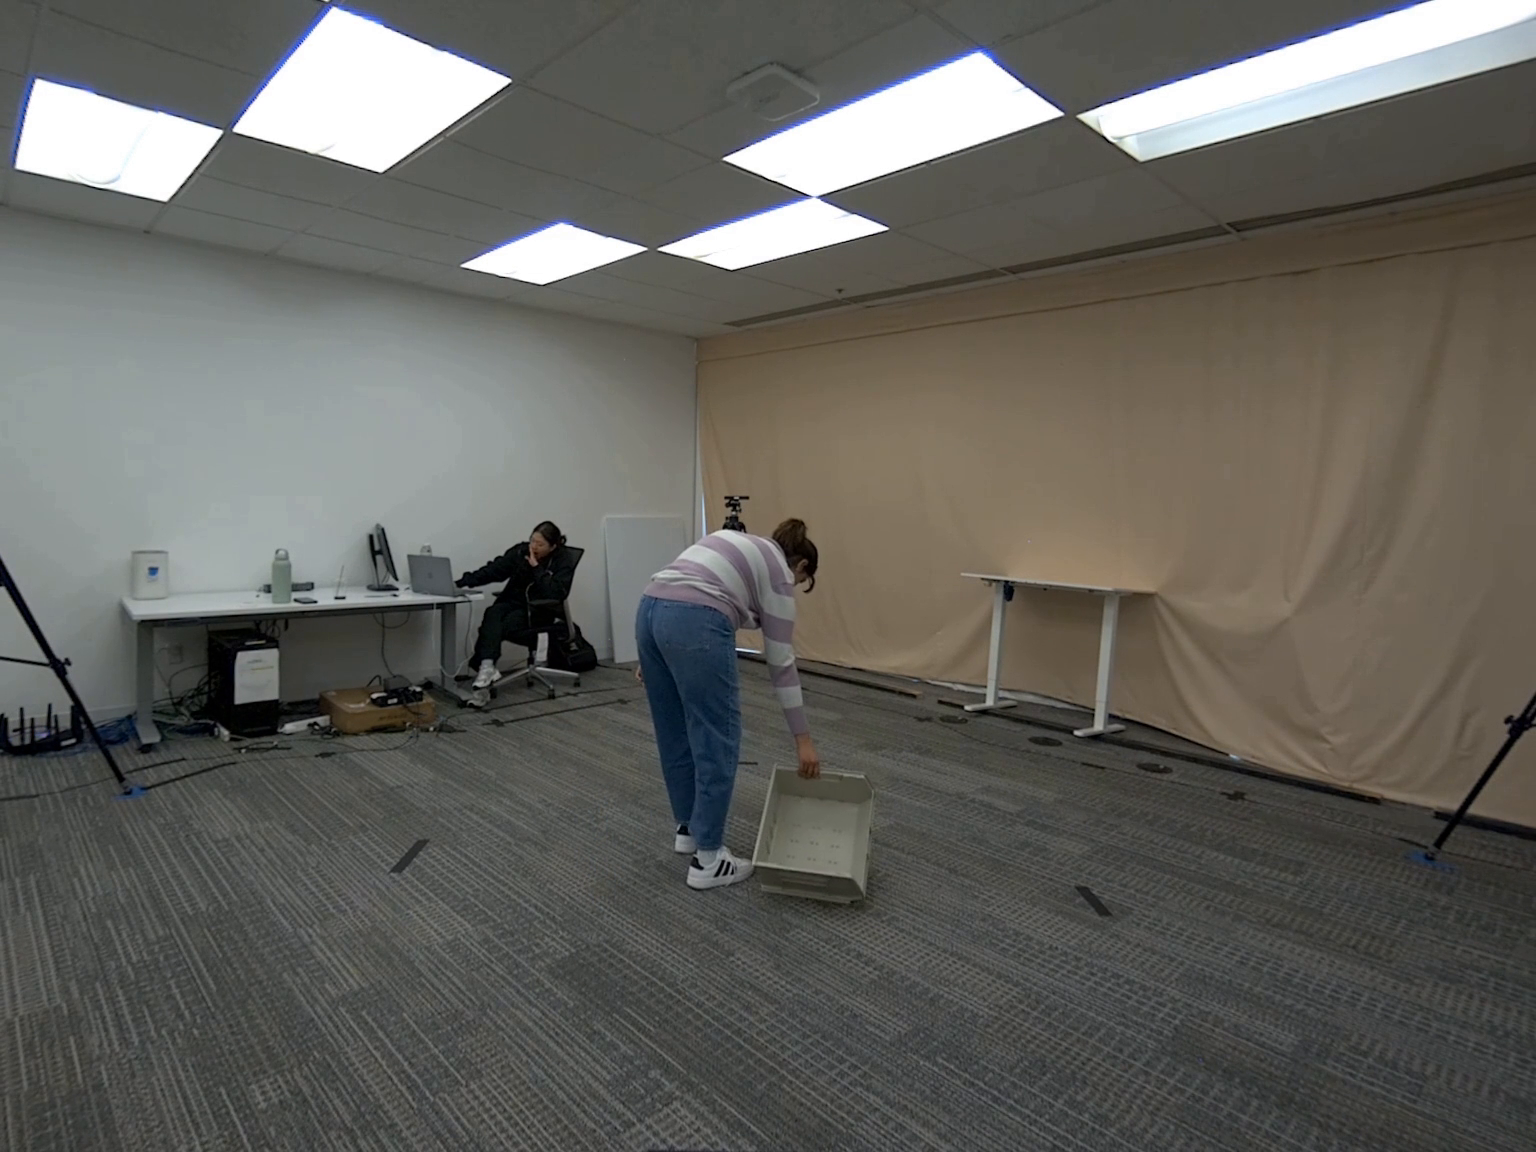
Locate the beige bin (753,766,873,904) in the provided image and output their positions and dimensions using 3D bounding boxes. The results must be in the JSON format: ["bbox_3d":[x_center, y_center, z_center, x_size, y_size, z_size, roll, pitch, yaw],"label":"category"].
[{"bbox_3d":[0.171,0.923,3.034,0.381,0.184,0.428,1,41,13],"label":"beige bin"}]
